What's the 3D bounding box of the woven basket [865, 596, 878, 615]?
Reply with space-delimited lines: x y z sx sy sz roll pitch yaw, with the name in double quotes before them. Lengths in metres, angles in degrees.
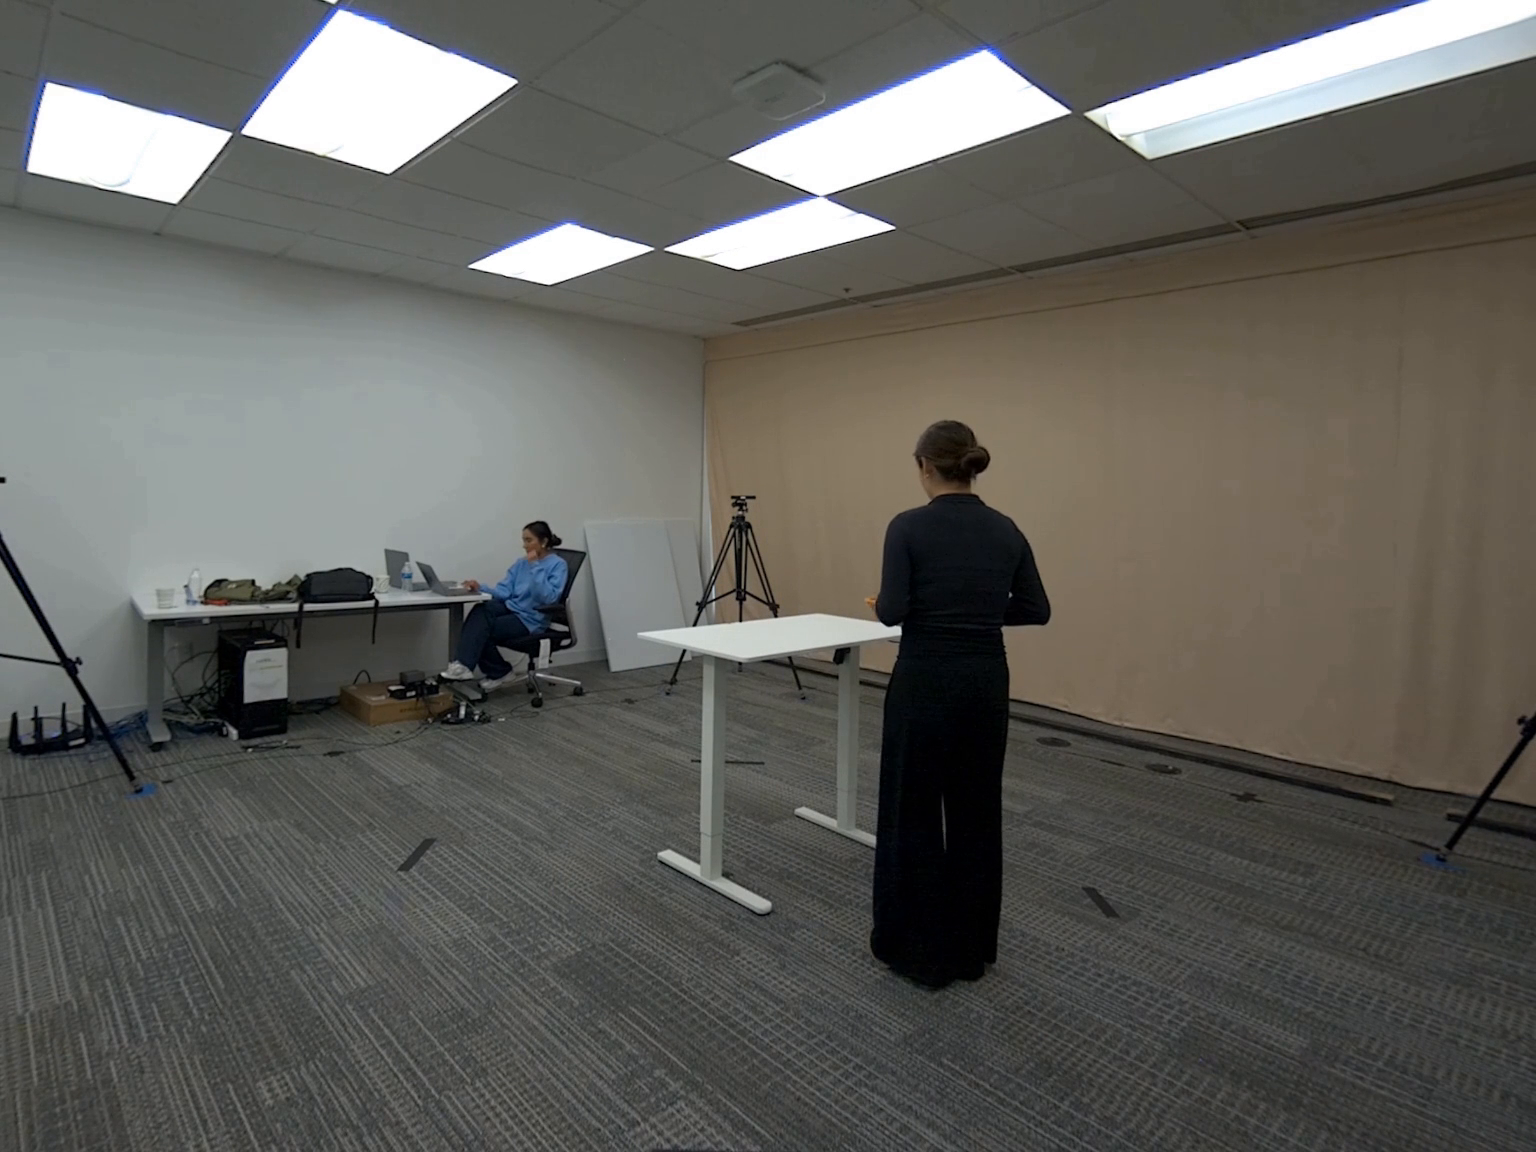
"woven basket" 0.466 0.115 2.695 0.247 0.073 0.358 2 0 -32
